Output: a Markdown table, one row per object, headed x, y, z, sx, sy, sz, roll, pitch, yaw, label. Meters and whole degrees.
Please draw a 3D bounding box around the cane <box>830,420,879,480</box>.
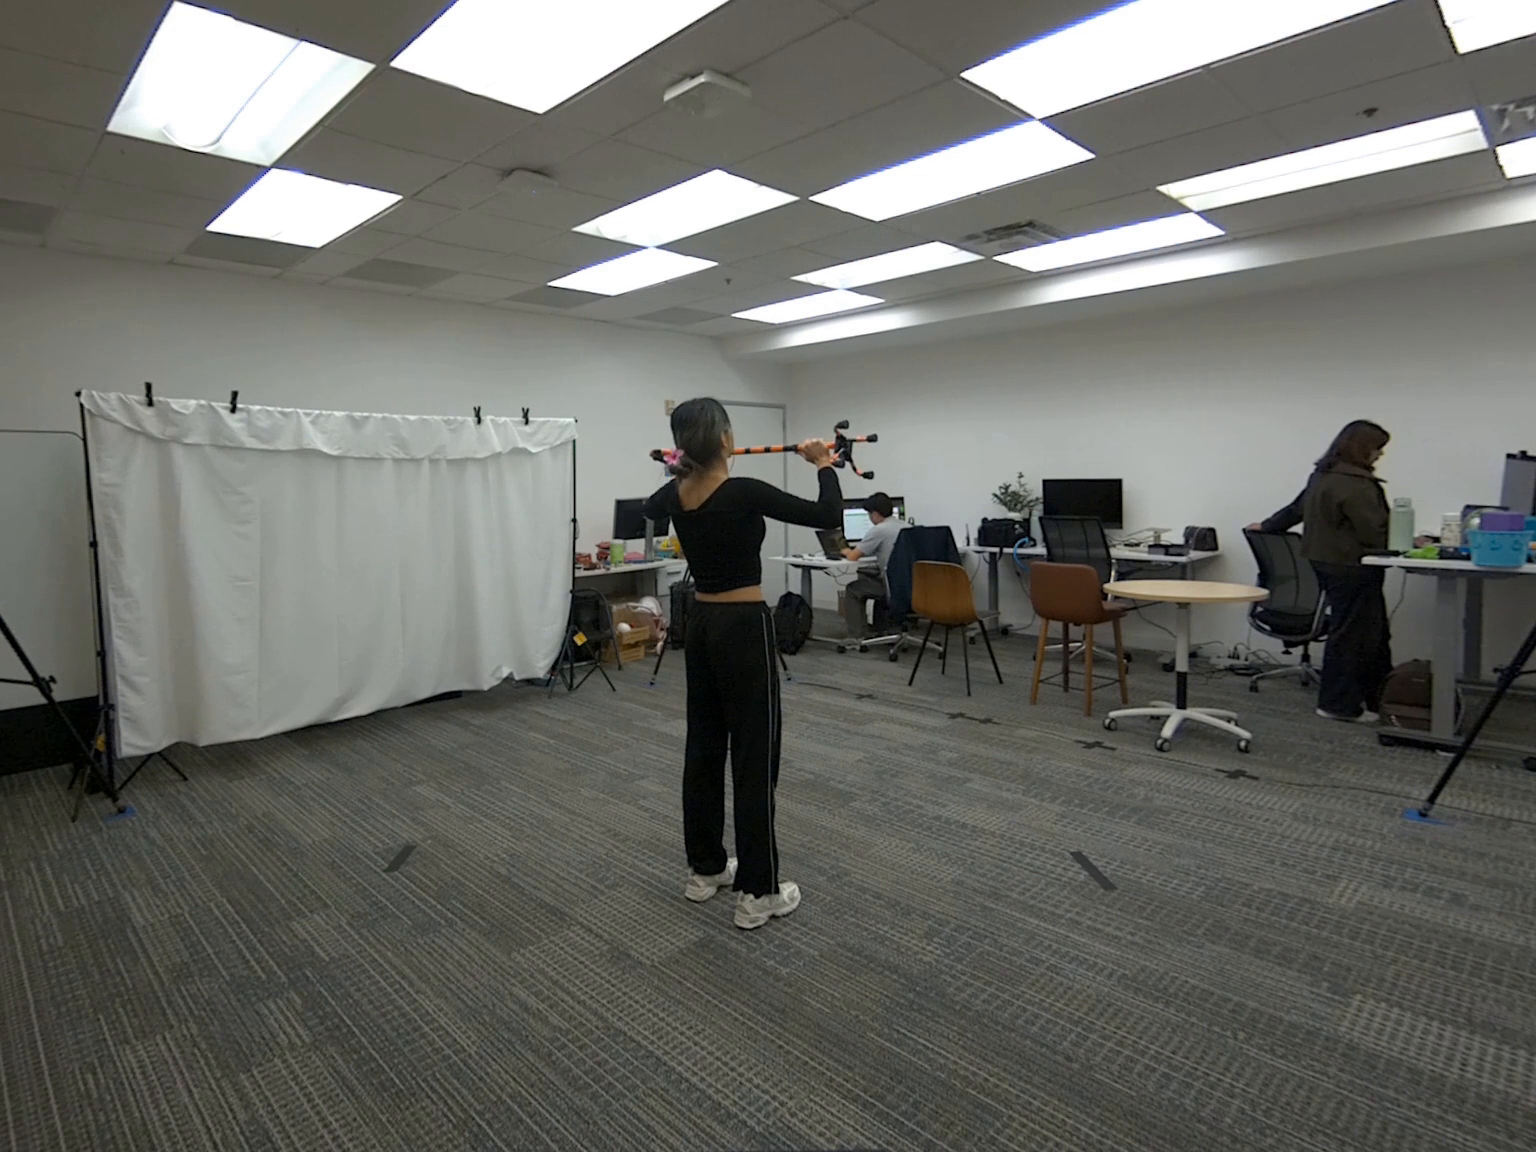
| x | y | z | sx | sy | sz | roll | pitch | yaw | label |
| --- | --- | --- | --- | --- | --- | --- | --- | --- | --- |
| -0.073 | -0.422 | 2.976 | 0.935 | 0.152 | 0.199 | 4 | -7 | 39 | cane |
